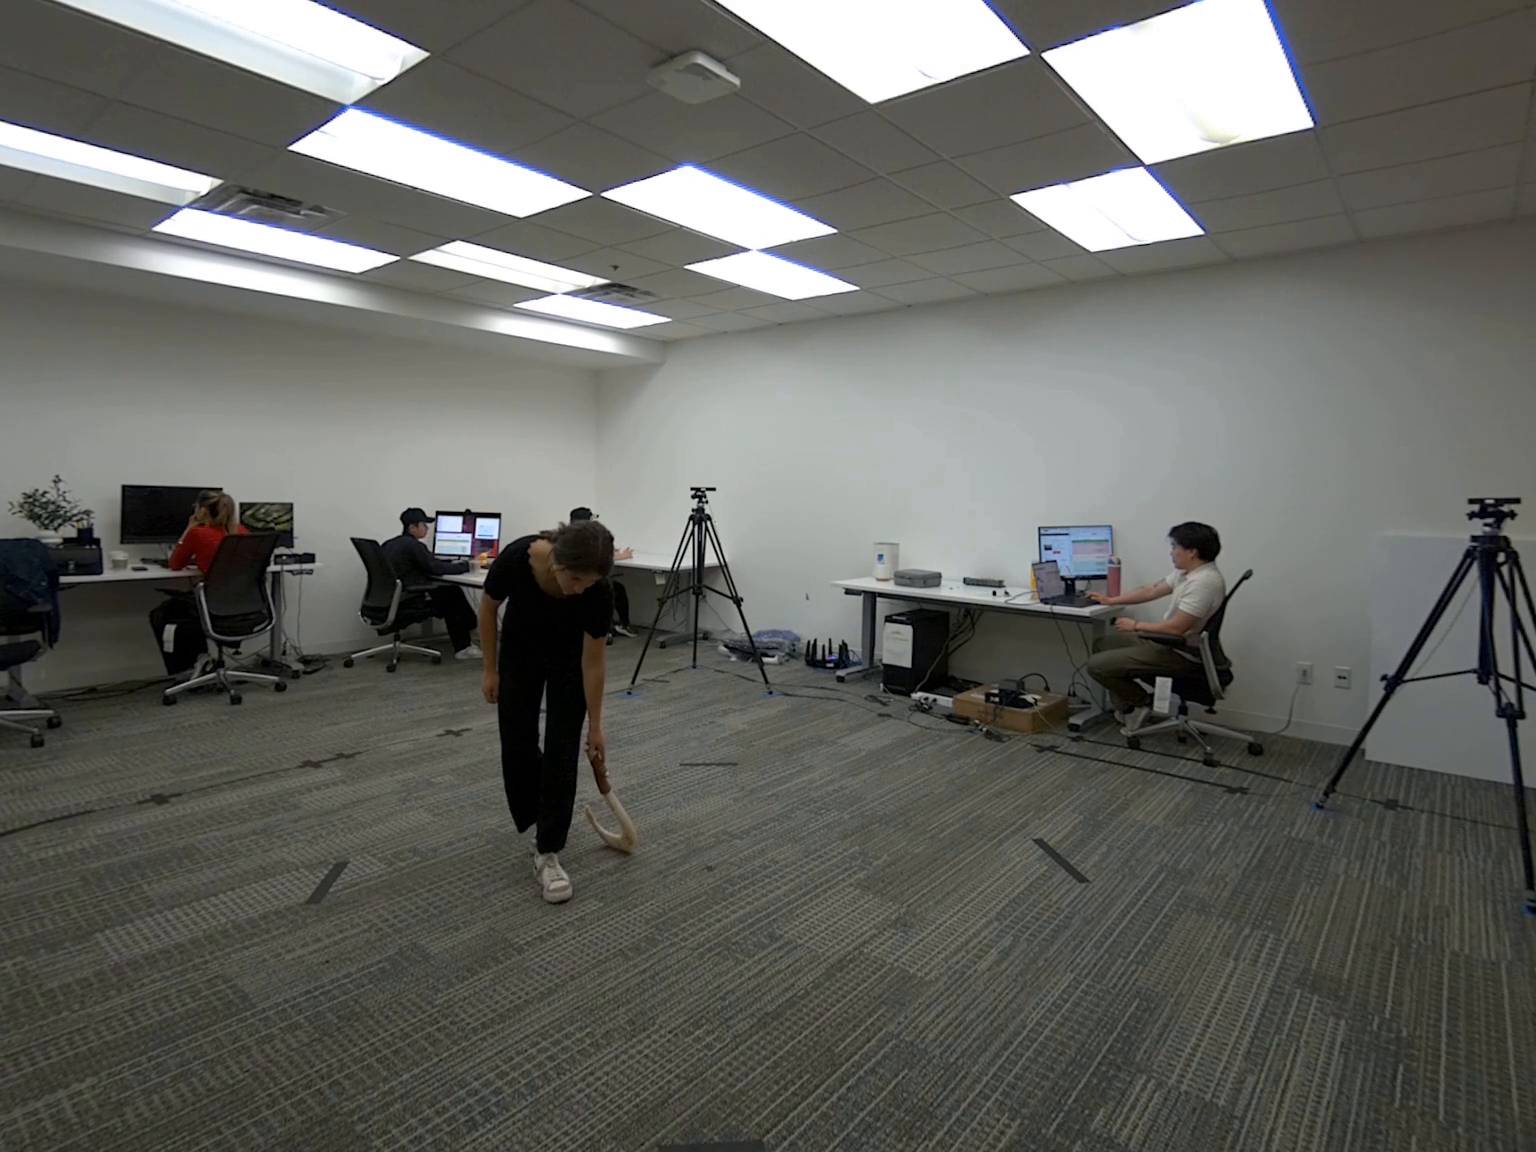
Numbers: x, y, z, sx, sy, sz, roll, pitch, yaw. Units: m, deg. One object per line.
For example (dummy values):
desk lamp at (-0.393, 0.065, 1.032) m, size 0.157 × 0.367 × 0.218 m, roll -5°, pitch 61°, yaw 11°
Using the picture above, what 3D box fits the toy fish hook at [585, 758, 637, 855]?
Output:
toy fish hook at (-0.636, 0.836, 3.160) m, size 0.231 × 0.493 × 0.048 m, roll 1°, pitch 28°, yaw 28°
